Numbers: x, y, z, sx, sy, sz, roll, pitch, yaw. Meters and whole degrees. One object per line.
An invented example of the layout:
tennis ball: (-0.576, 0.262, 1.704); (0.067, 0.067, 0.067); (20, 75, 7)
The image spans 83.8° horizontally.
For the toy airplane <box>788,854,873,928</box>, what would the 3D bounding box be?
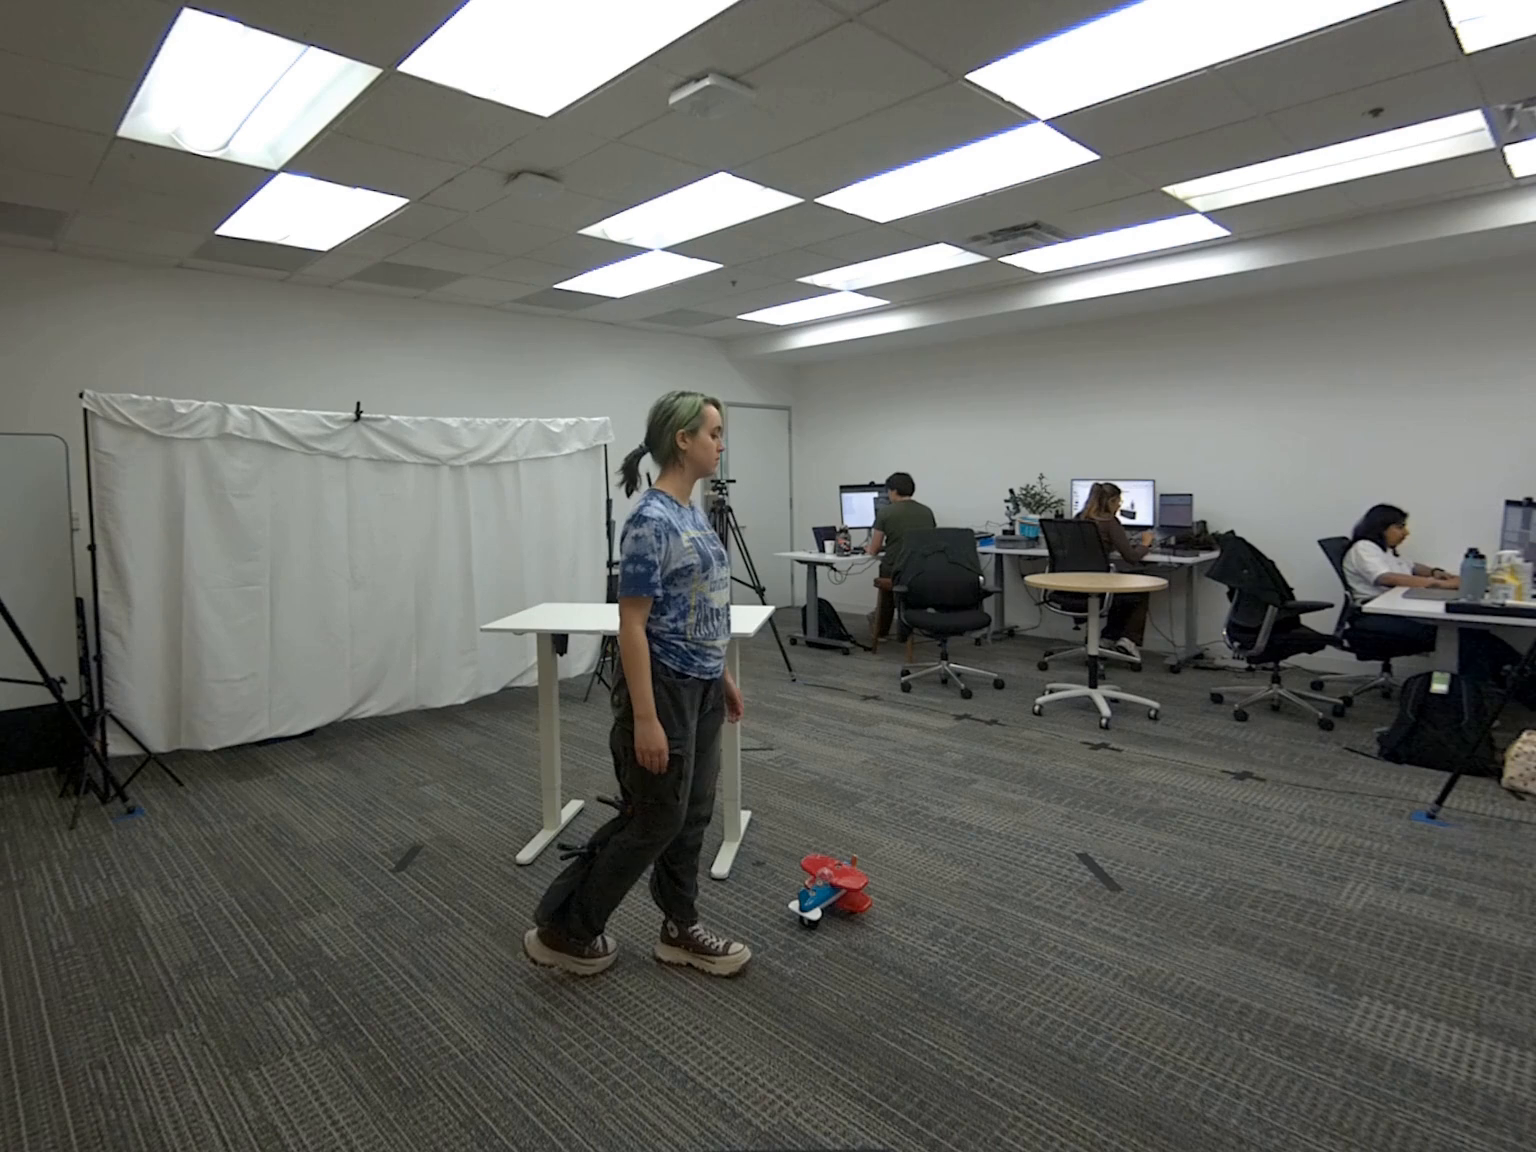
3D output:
toy airplane: (0.210, 1.014, 2.709); (0.256, 0.156, 0.255); (1, 4, 19)
